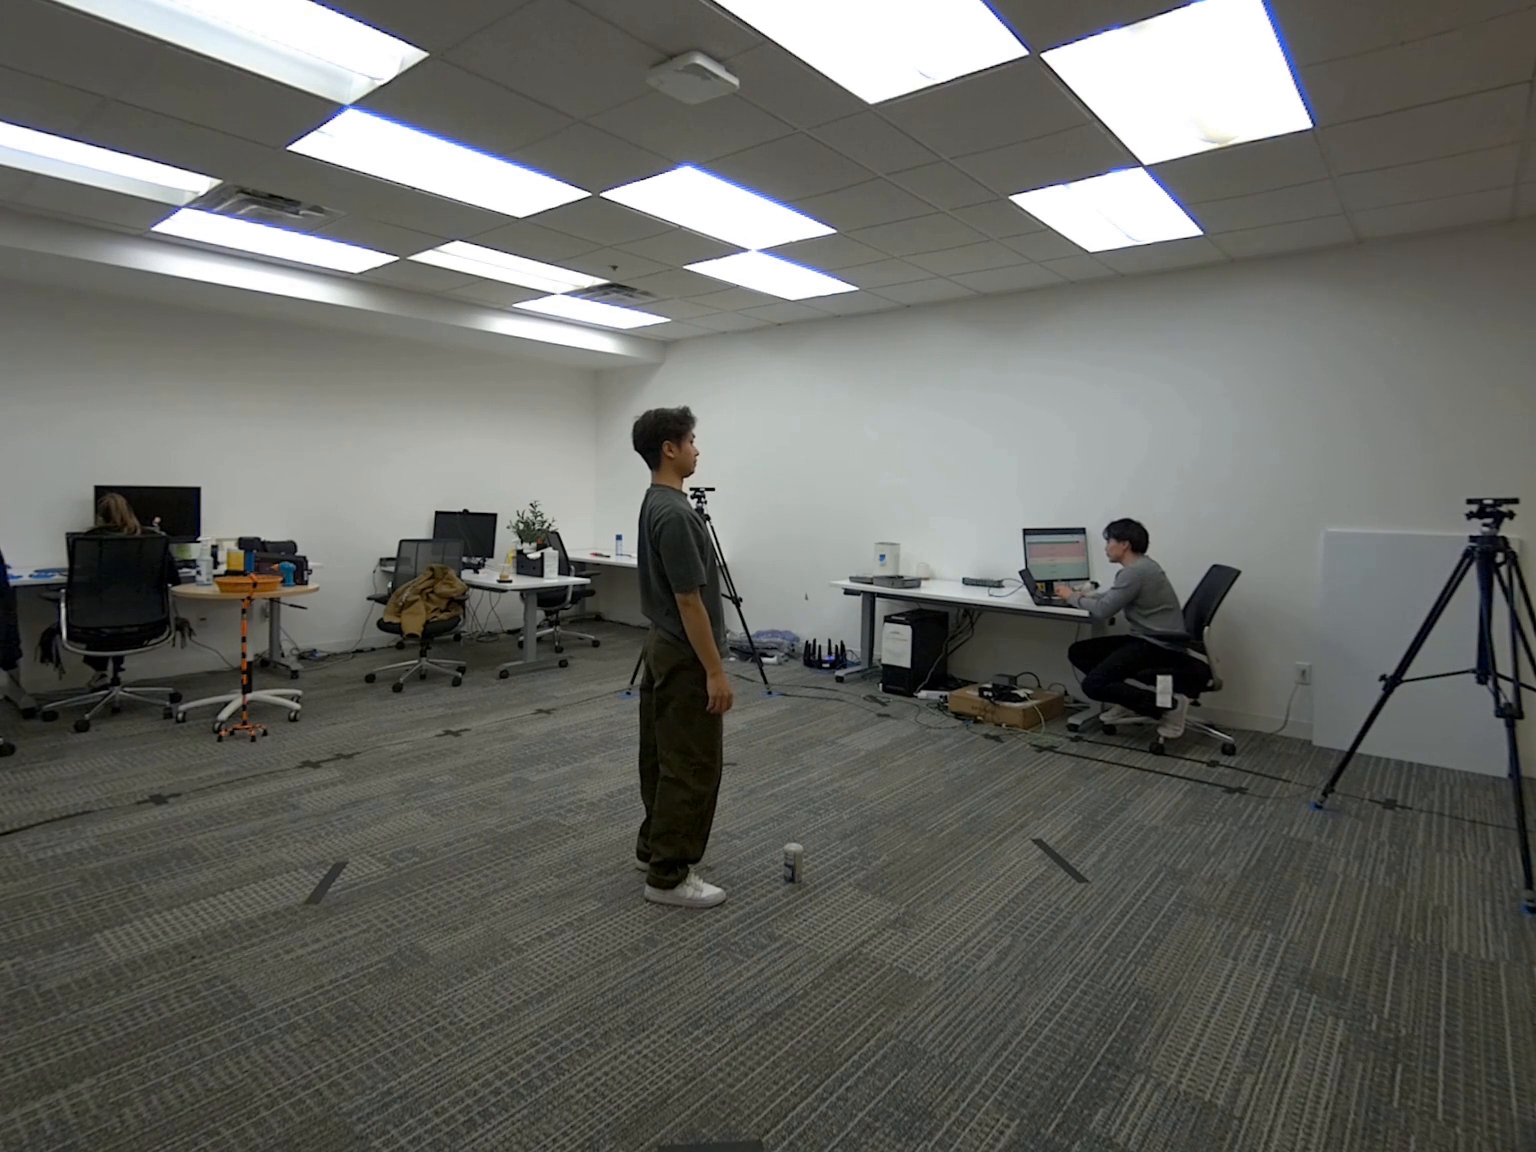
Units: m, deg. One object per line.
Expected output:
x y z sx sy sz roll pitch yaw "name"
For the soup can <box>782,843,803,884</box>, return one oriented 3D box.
0.078 1.016 3.033 0.067 0.121 0.067 0 2 -2 "soup can"
